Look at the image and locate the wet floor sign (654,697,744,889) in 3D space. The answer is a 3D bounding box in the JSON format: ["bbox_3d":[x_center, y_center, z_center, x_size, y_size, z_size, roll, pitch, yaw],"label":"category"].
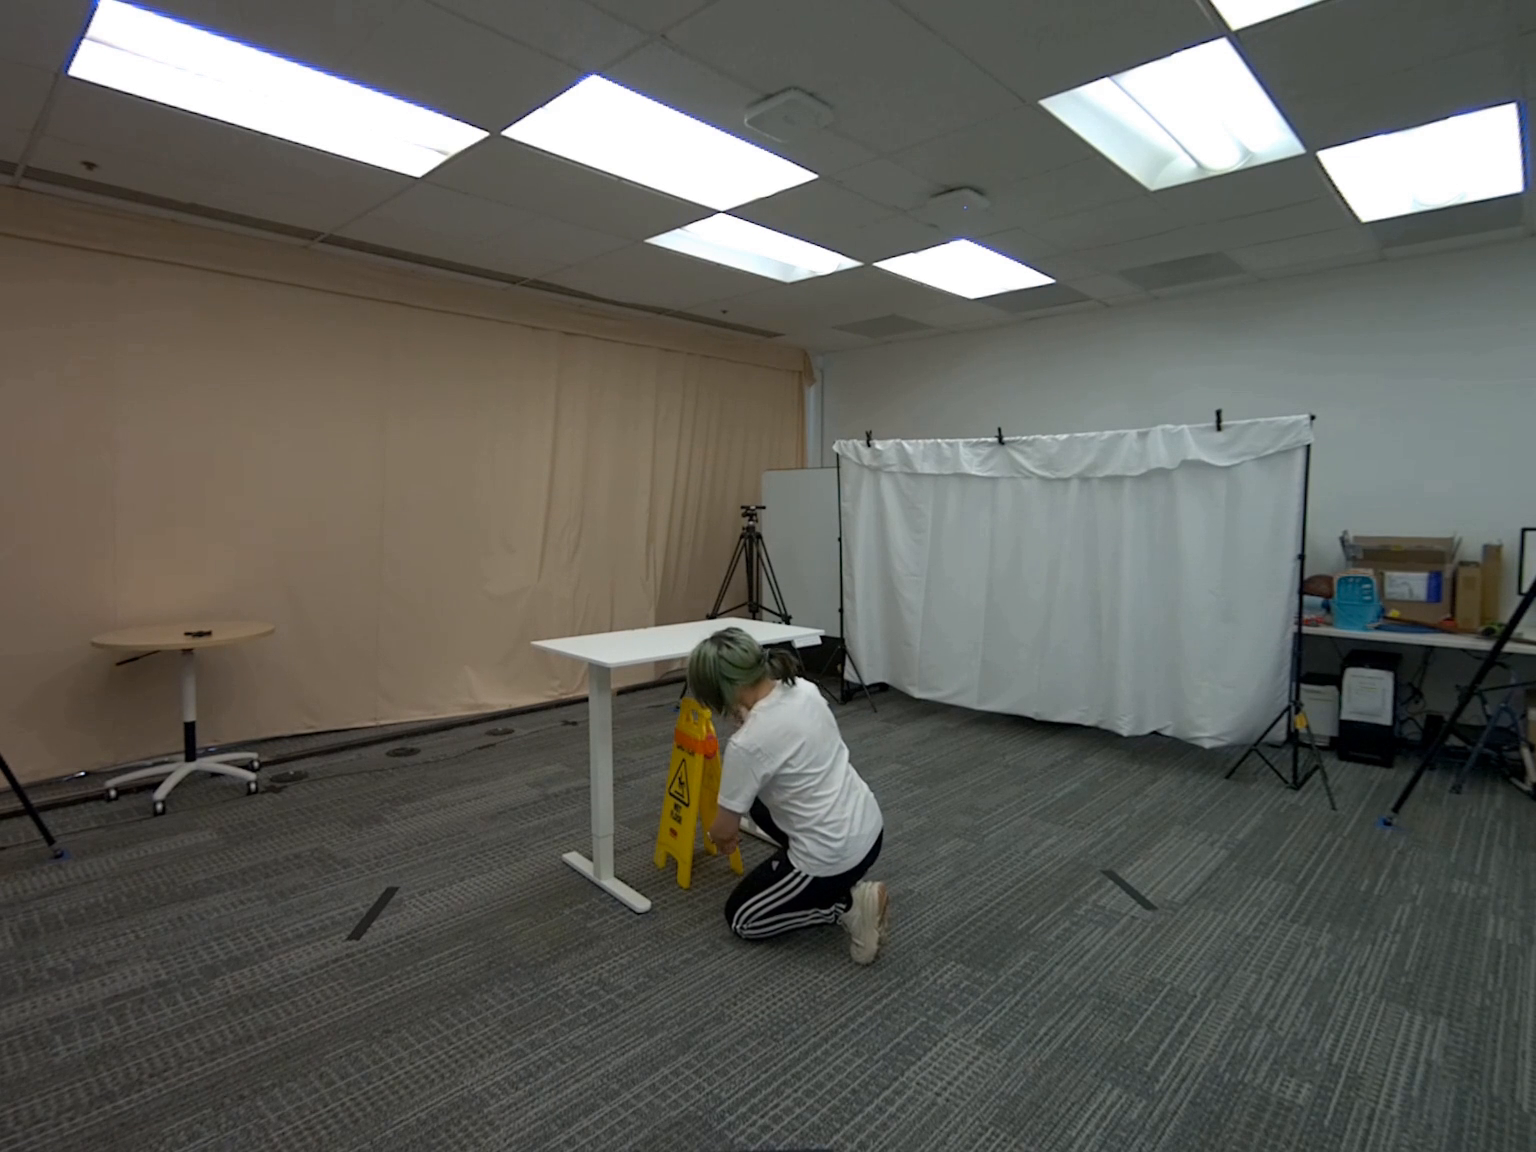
[{"bbox_3d":[-0.270,0.799,3.221,0.282,0.644,0.290,-2,4,-31],"label":"wet floor sign"}]
